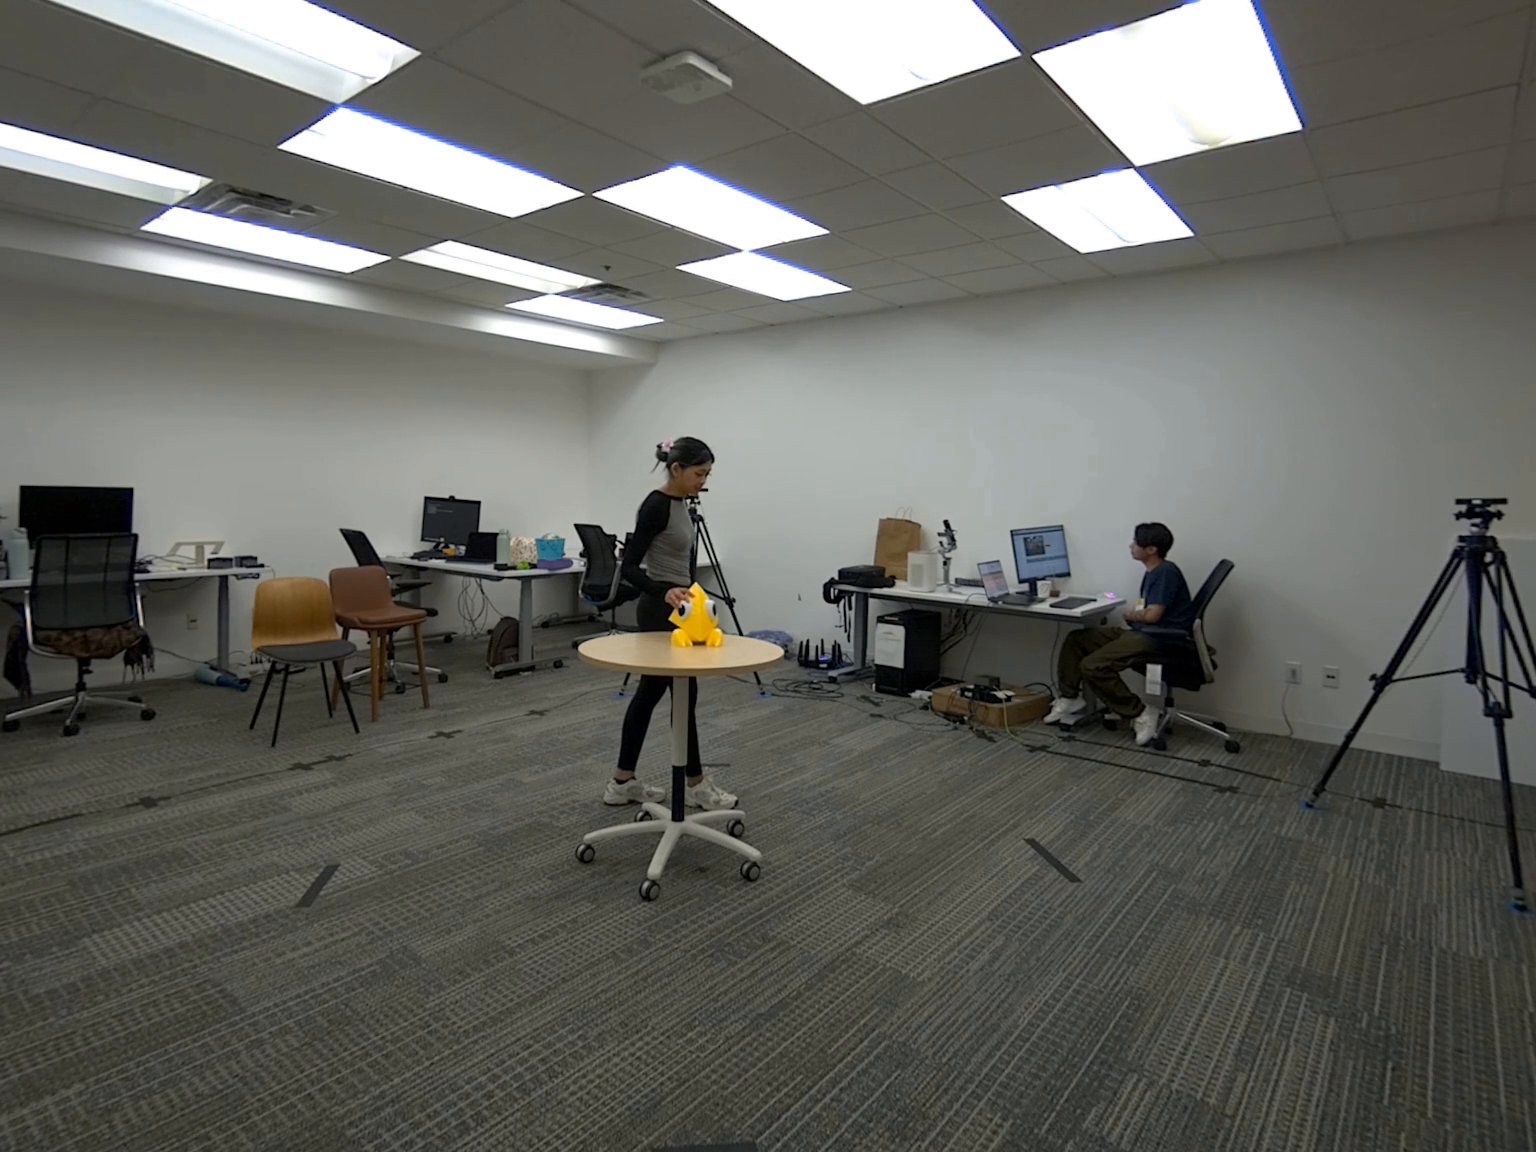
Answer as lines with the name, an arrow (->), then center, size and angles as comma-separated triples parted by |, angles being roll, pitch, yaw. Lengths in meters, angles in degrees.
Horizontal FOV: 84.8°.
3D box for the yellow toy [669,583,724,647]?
yellow toy -> -0.282, 0.144, 3.299 | 0.202, 0.230, 0.196 | 2, 2, -13
